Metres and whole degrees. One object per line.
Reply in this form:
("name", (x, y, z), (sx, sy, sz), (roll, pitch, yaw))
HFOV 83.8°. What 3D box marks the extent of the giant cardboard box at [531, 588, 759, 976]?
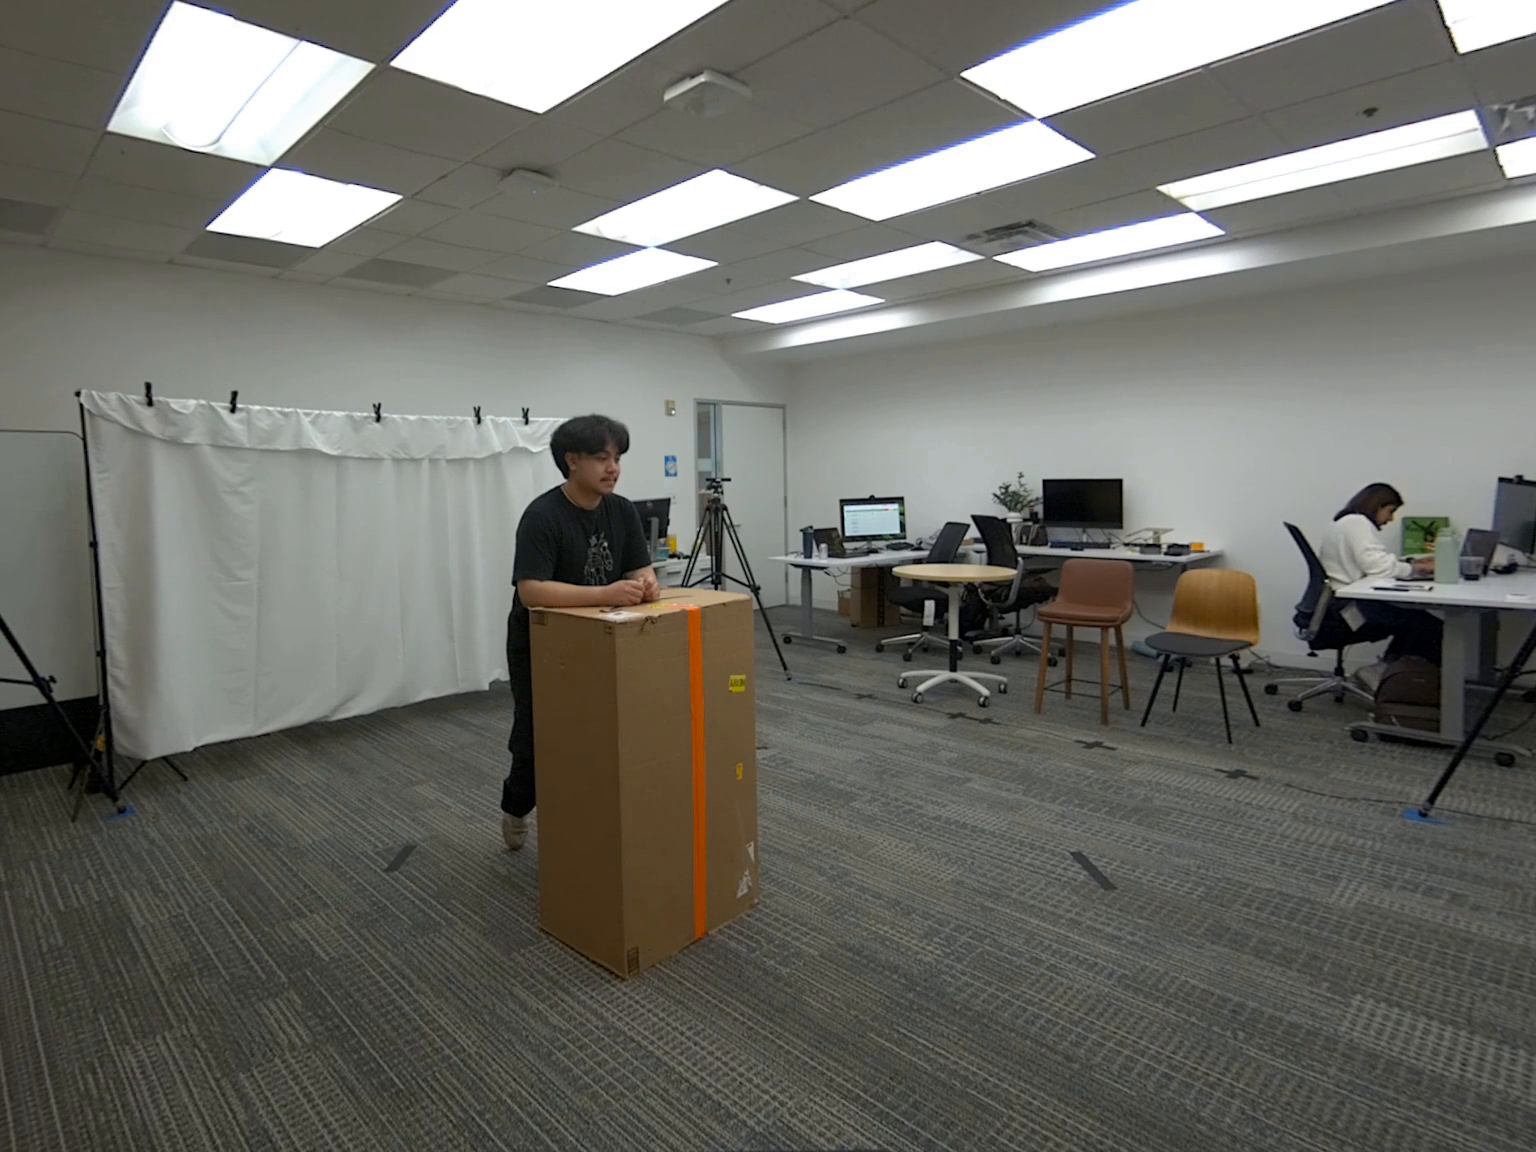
("giant cardboard box", (-0.376, 0.587, 2.705), (0.461, 1.022, 0.569), (4, 7, 43))
